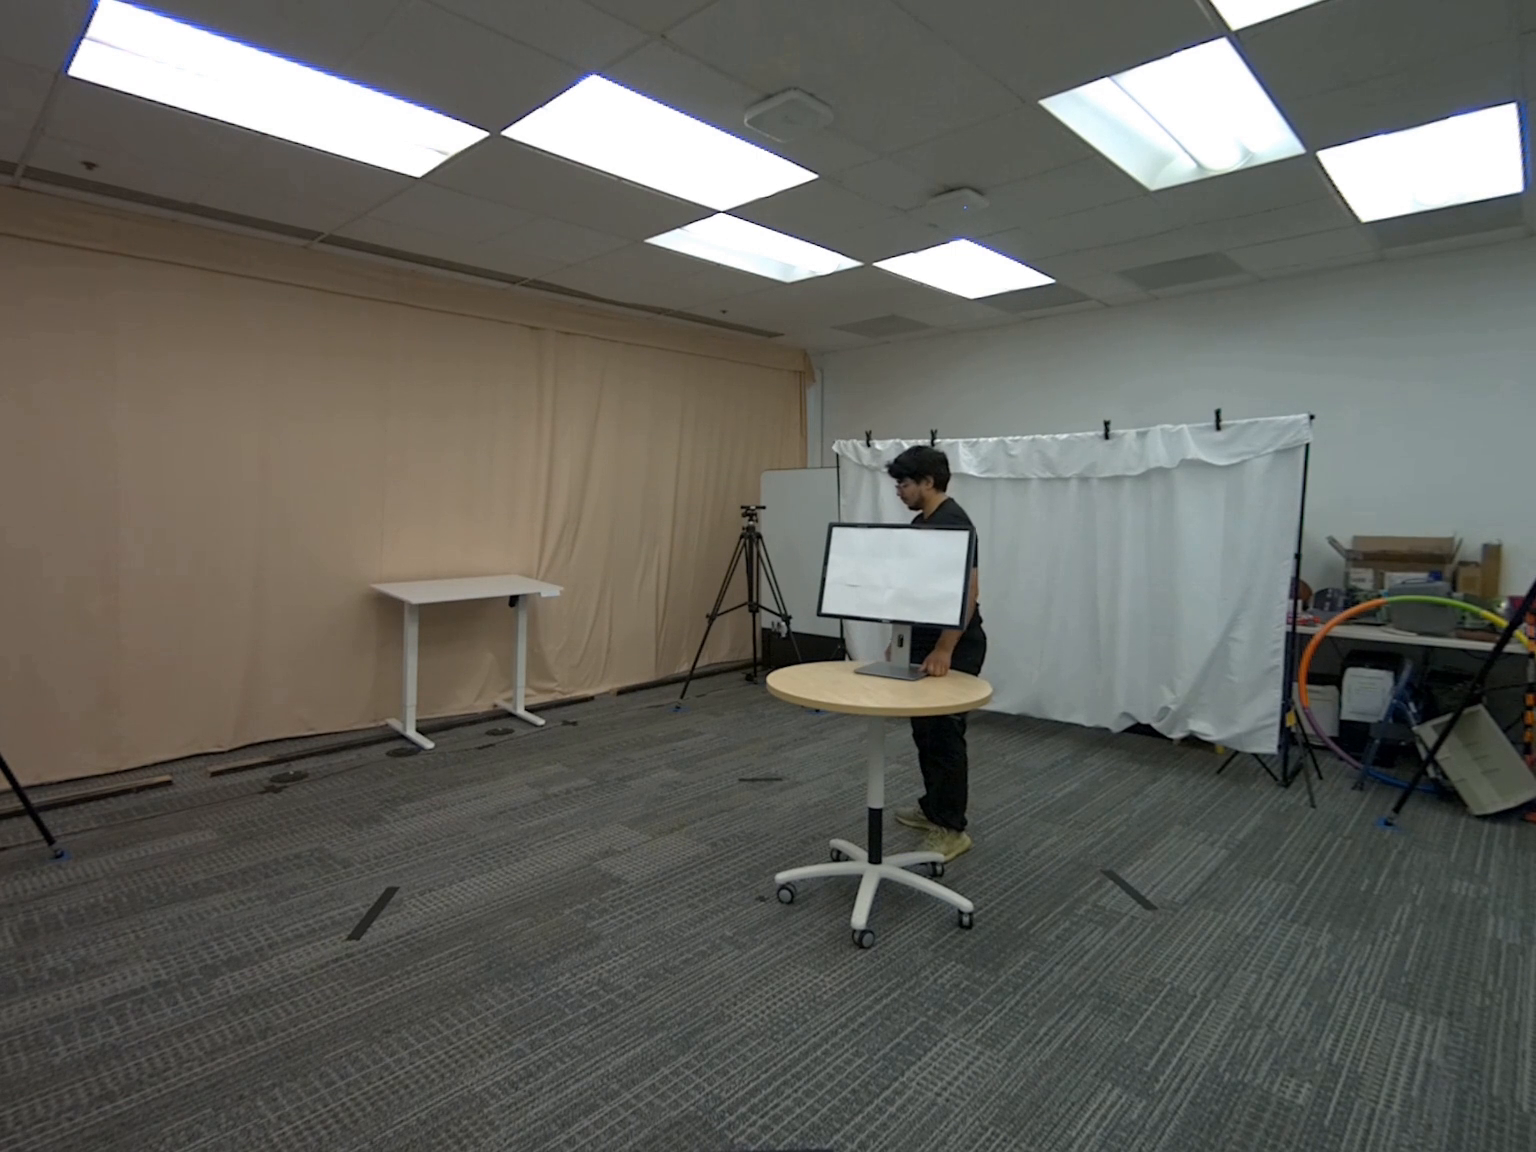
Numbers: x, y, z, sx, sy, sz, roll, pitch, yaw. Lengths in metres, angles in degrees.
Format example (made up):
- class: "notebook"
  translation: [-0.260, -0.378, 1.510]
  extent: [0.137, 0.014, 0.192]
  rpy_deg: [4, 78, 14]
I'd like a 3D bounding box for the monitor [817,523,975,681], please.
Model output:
- class: "monitor"
  translation: [0.487, 0.087, 3.078]
  extent: [0.583, 0.555, 0.203]
  rpy_deg: [3, -3, 34]
